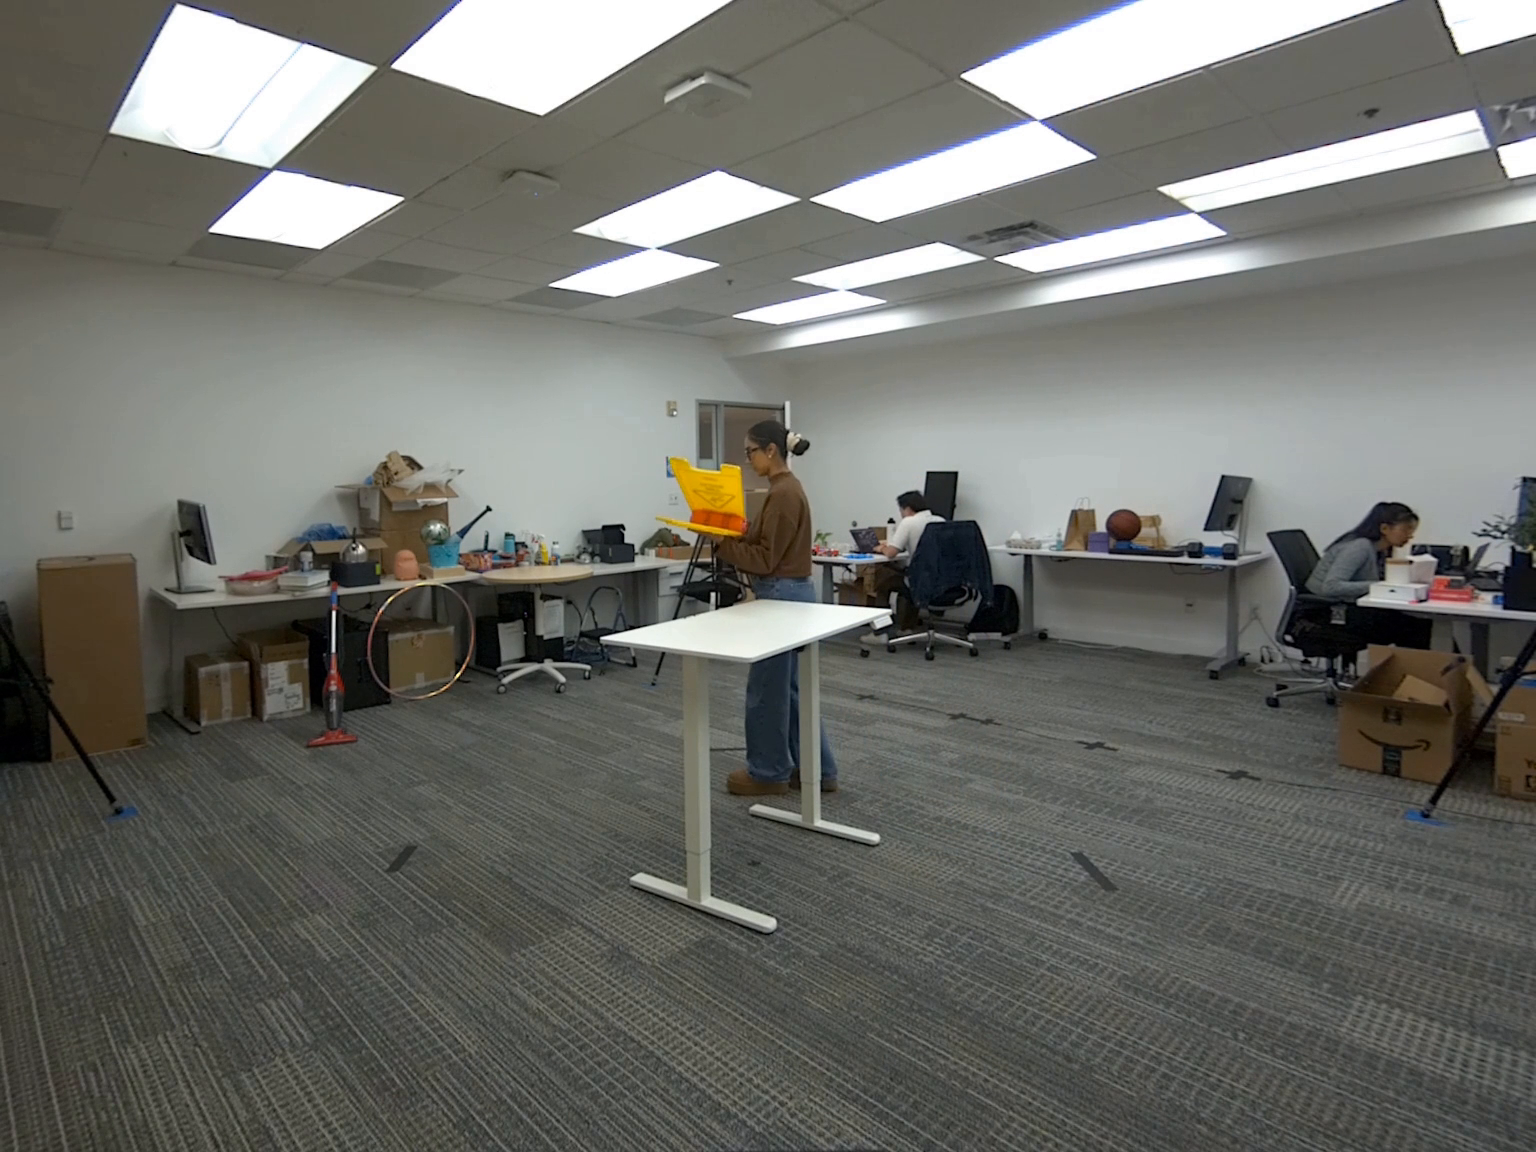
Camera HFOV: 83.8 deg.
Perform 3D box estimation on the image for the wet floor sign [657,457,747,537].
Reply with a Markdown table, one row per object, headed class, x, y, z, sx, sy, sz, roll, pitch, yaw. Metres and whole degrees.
| class | x | y | z | sx | sy | sz | roll | pitch | yaw |
| --- | --- | --- | --- | --- | --- | --- | --- | --- | --- |
| wet floor sign | -0.242 | -0.249 | 3.477 | 0.285 | 0.291 | 0.636 | 10 | -7 | 7 |
